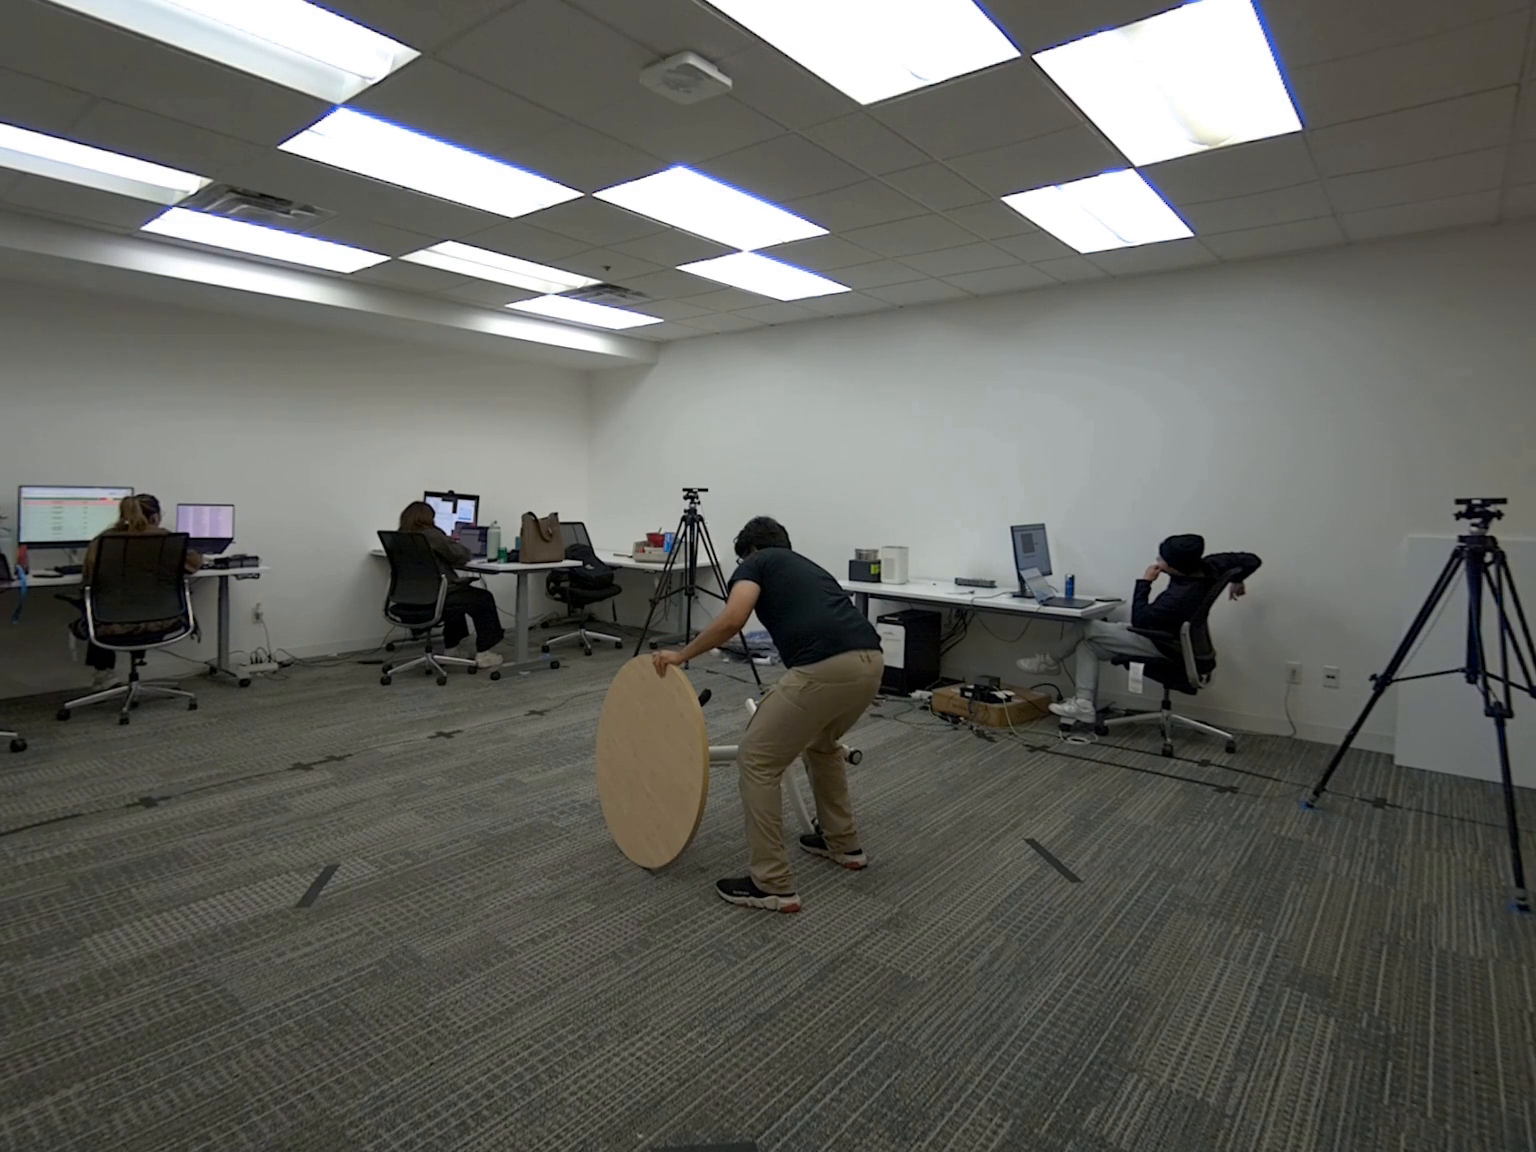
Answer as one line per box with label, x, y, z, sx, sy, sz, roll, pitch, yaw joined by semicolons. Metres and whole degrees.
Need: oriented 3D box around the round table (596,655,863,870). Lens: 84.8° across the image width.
round table;-0.170;0.708;3.406;0.760;0.786;0.811;8;-1;-38
